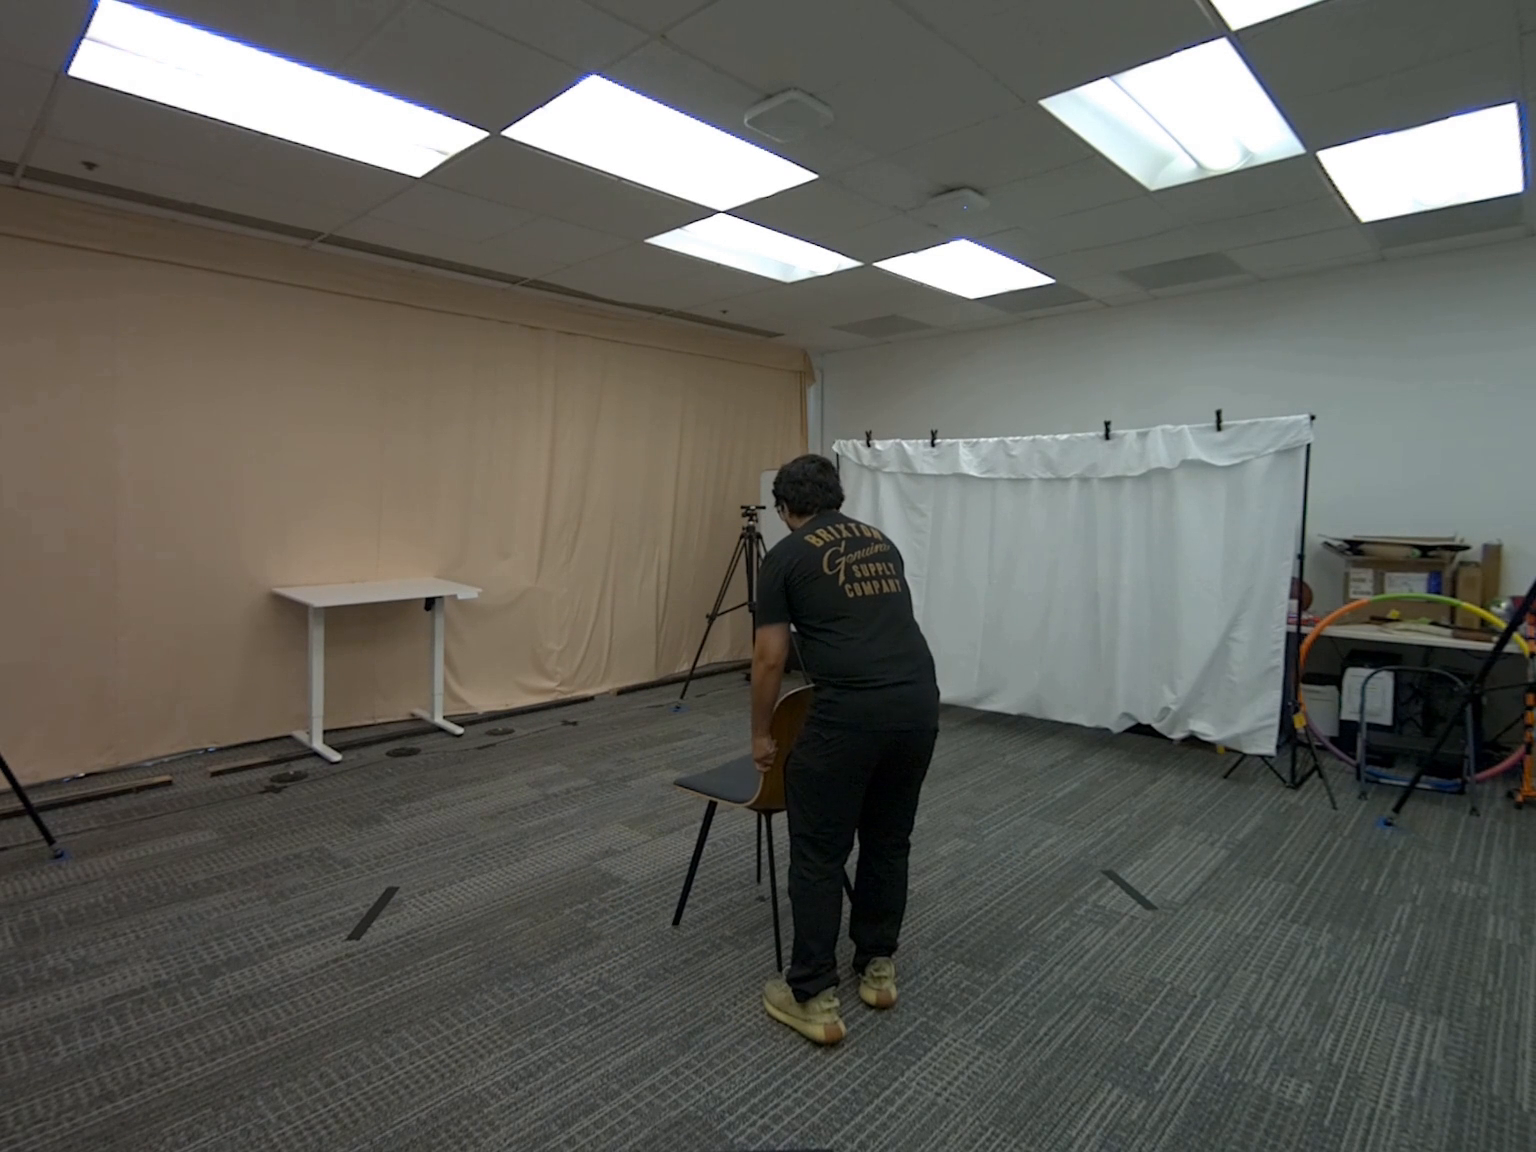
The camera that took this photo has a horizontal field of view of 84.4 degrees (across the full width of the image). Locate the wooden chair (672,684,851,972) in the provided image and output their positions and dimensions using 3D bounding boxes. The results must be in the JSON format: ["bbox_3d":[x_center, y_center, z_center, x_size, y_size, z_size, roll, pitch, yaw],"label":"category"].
[{"bbox_3d":[-0.014,0.723,2.784,0.541,0.874,0.464,7,8,40],"label":"wooden chair"}]
